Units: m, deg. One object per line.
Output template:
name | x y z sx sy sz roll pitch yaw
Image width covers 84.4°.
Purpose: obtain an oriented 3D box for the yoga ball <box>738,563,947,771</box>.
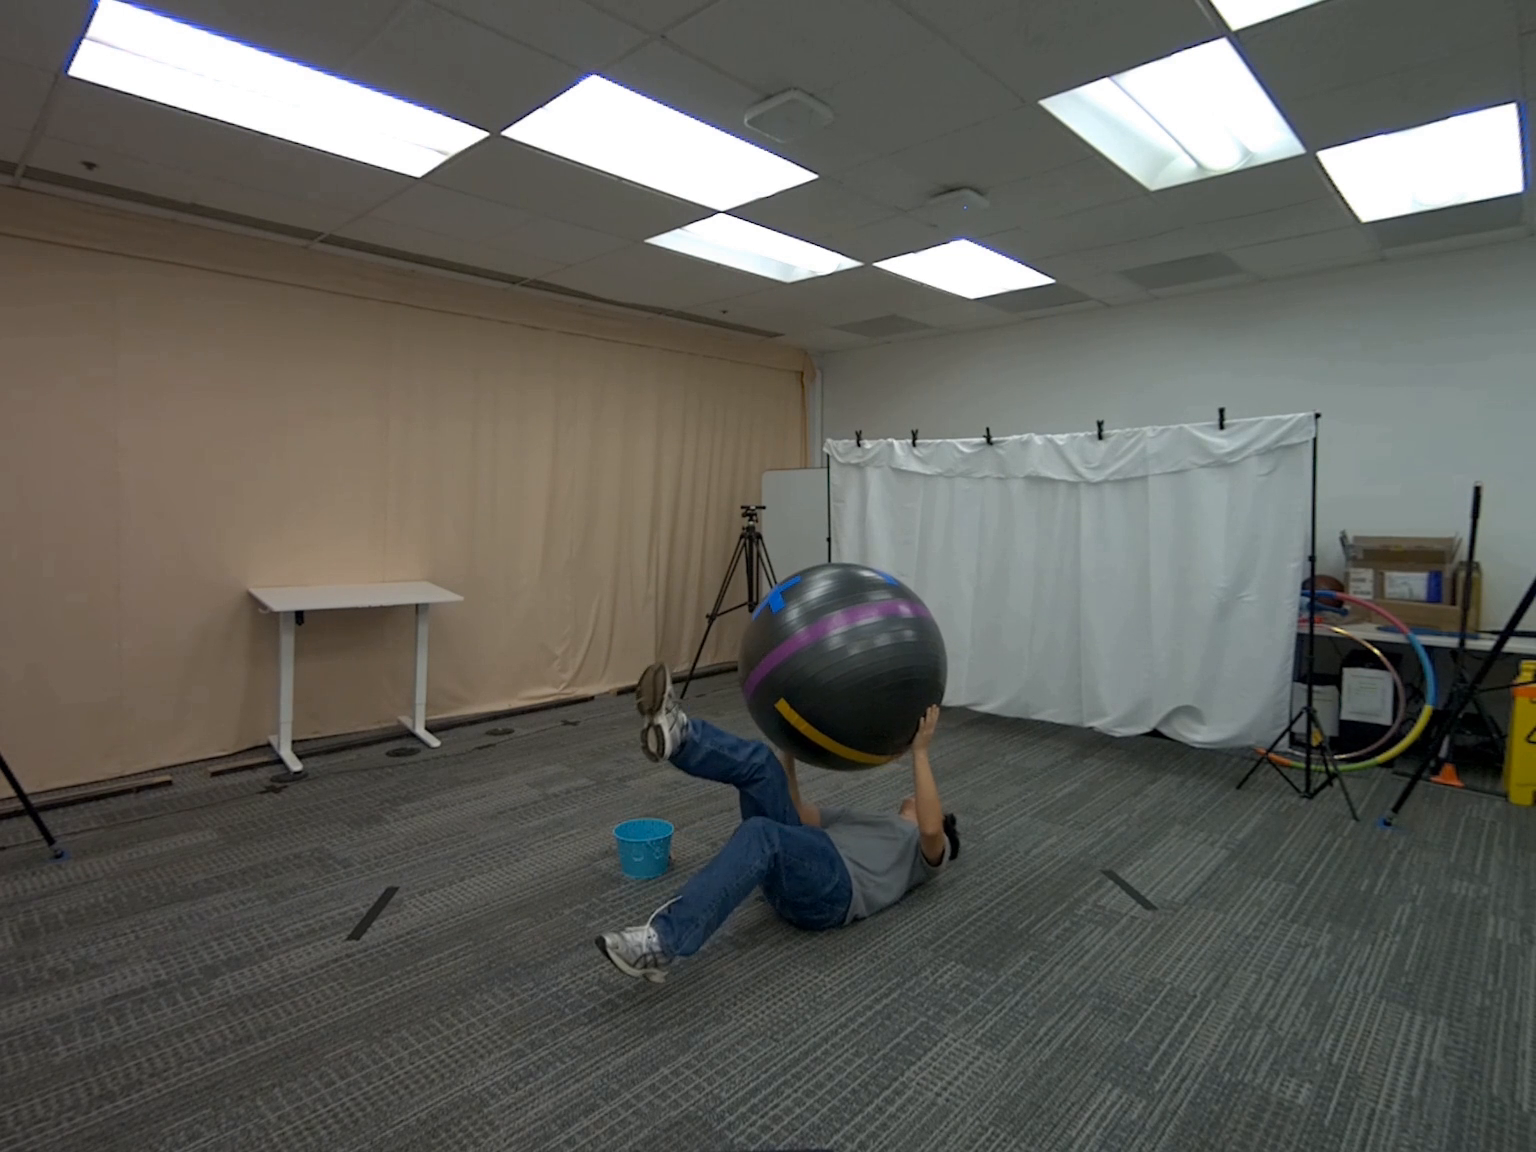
yoga ball | 0.274 0.339 3.111 0.757 0.756 0.760 0 4 -2
